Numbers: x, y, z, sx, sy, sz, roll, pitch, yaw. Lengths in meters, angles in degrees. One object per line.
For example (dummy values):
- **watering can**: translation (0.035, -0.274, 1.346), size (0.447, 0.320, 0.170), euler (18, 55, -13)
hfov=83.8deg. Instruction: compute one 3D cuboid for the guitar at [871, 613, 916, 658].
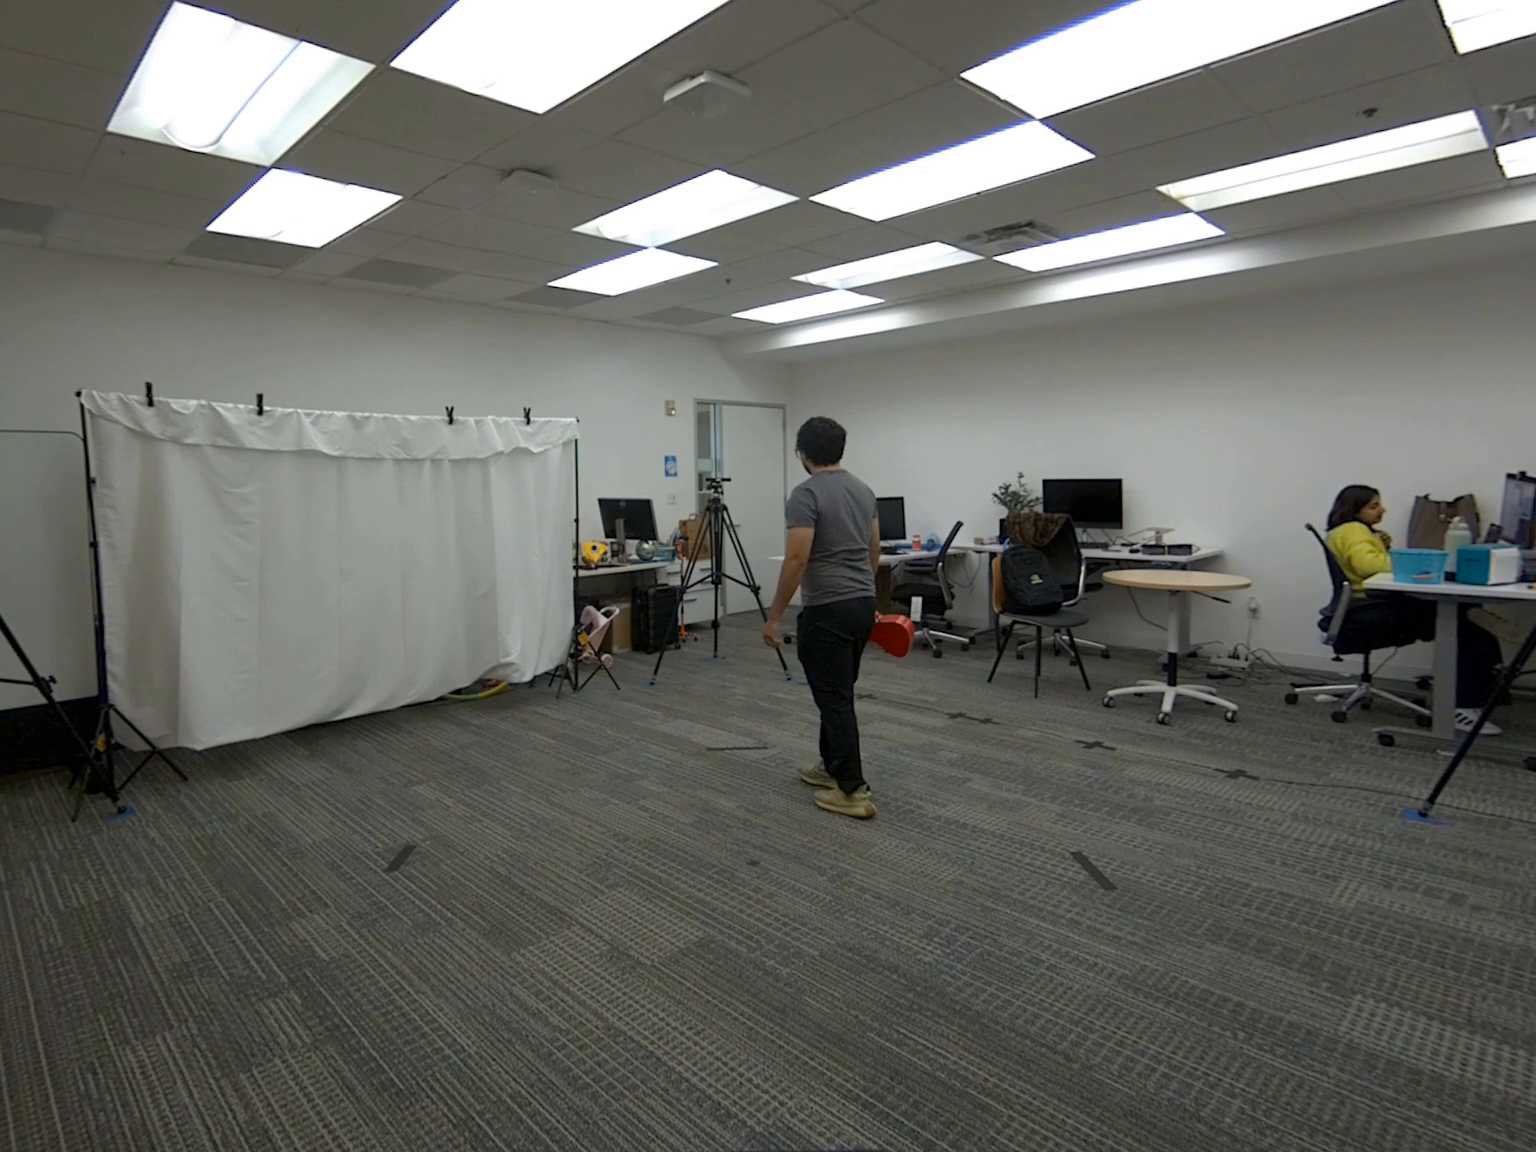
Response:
- **guitar**: translation (0.428, 0.234, 3.877), size (0.514, 0.188, 0.070), euler (14, 37, 36)
